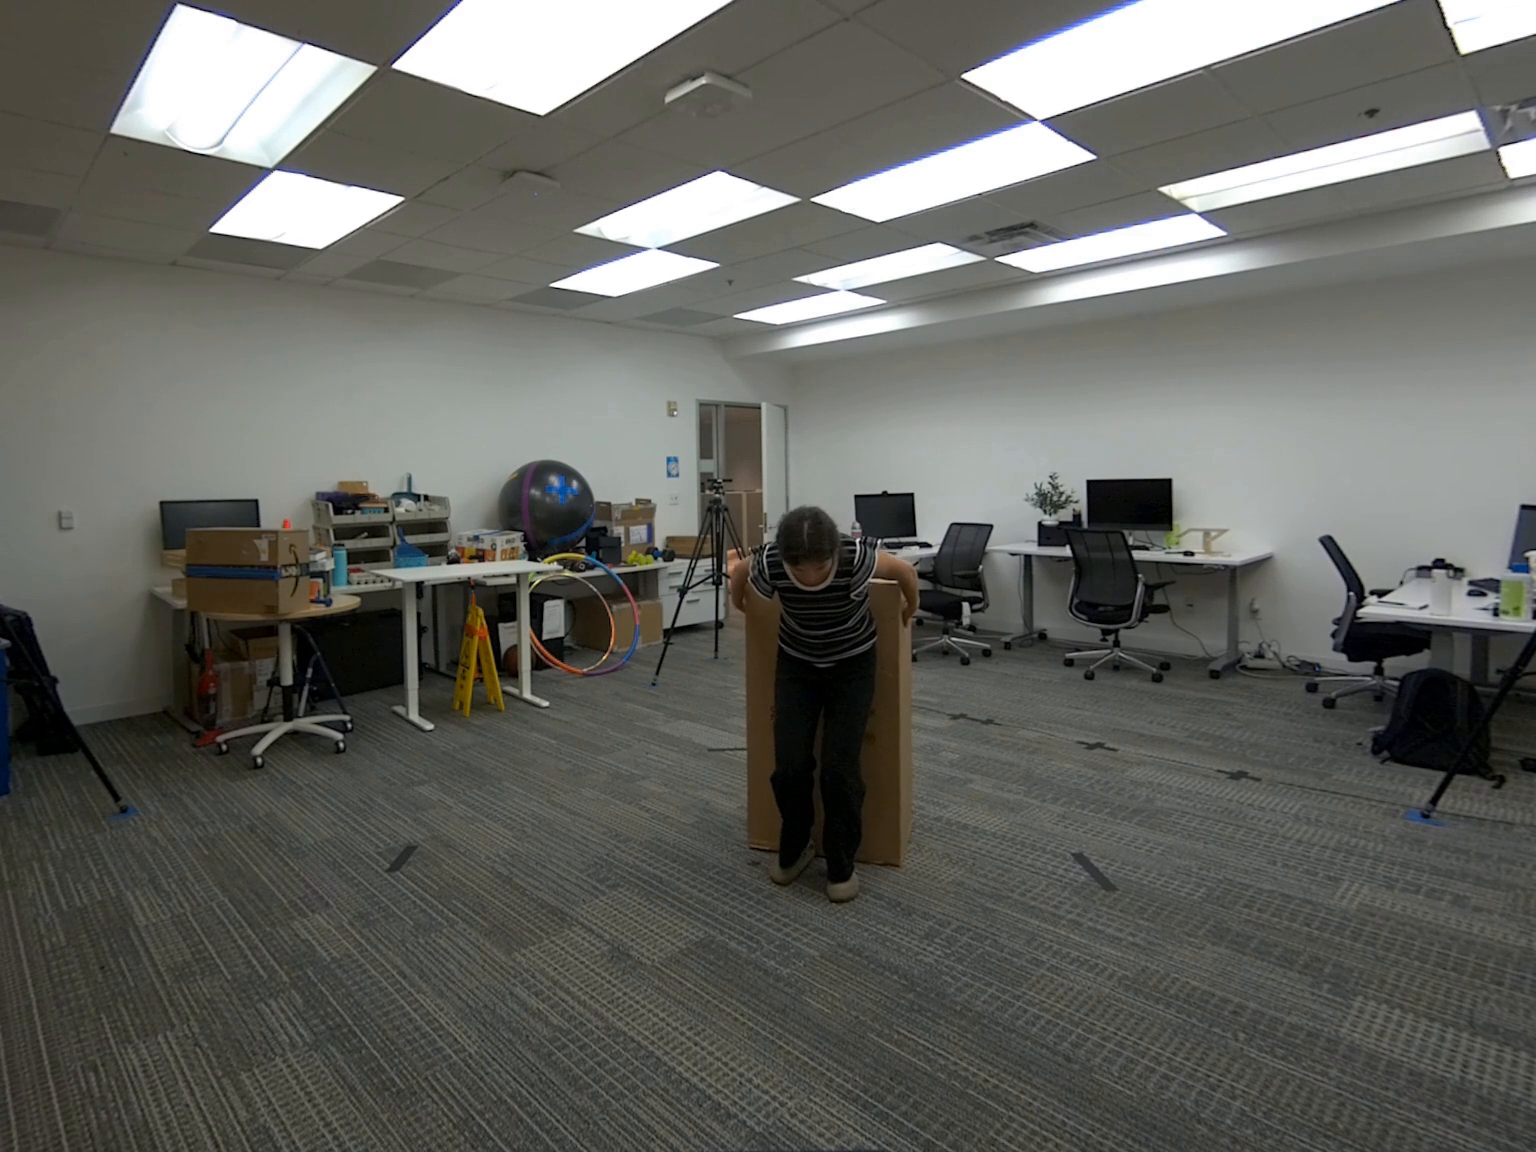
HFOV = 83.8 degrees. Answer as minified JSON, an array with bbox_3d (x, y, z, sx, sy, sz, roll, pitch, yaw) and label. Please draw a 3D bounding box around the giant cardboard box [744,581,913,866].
[{"bbox_3d":[0.245,0.506,3.324,0.587,1.024,0.420,0,2,16],"label":"giant cardboard box"}]
